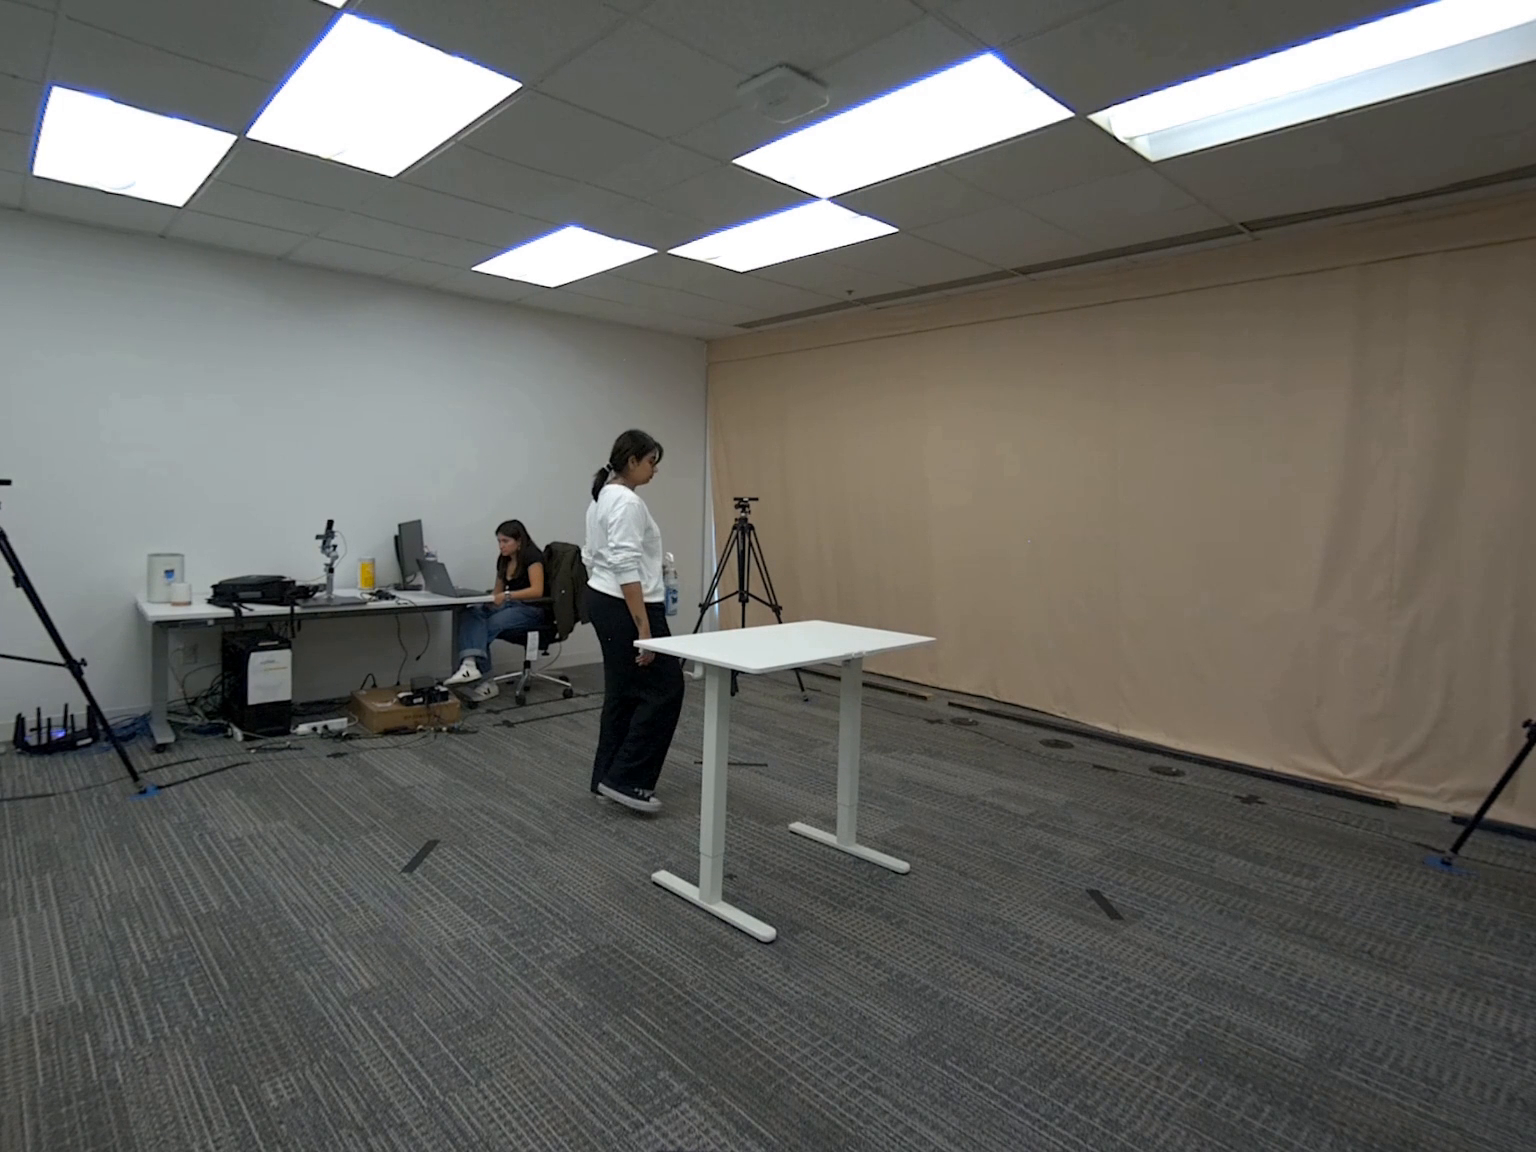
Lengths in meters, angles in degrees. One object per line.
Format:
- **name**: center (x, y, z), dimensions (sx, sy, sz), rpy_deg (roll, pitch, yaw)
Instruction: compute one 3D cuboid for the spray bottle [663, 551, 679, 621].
- **spray bottle**: center (-0.491, 0.042, 4.040), dimensions (0.087, 0.296, 0.090), rpy_deg (2, 6, 6)
